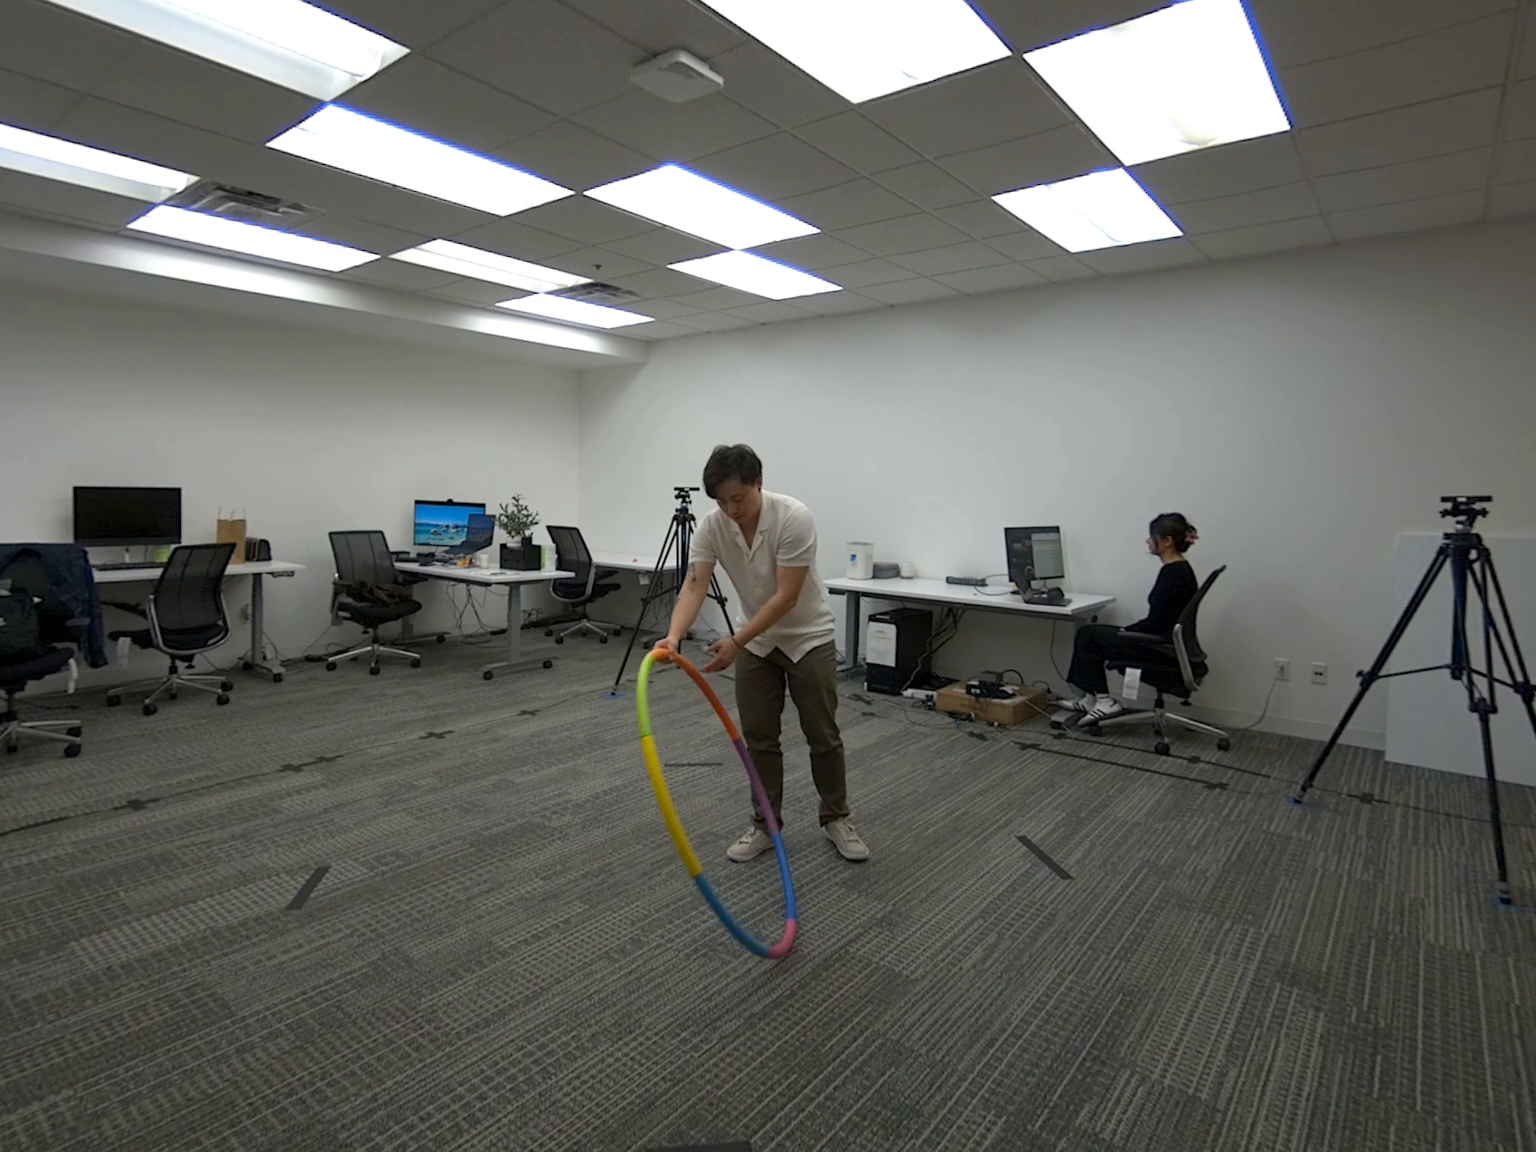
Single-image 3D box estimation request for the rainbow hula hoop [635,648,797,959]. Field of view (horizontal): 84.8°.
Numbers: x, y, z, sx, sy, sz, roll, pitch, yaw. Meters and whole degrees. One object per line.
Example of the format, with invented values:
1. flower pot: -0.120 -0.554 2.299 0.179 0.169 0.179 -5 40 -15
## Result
1. rainbow hula hoop: -0.144 0.676 2.668 0.036 0.981 0.973 -28 0 8
